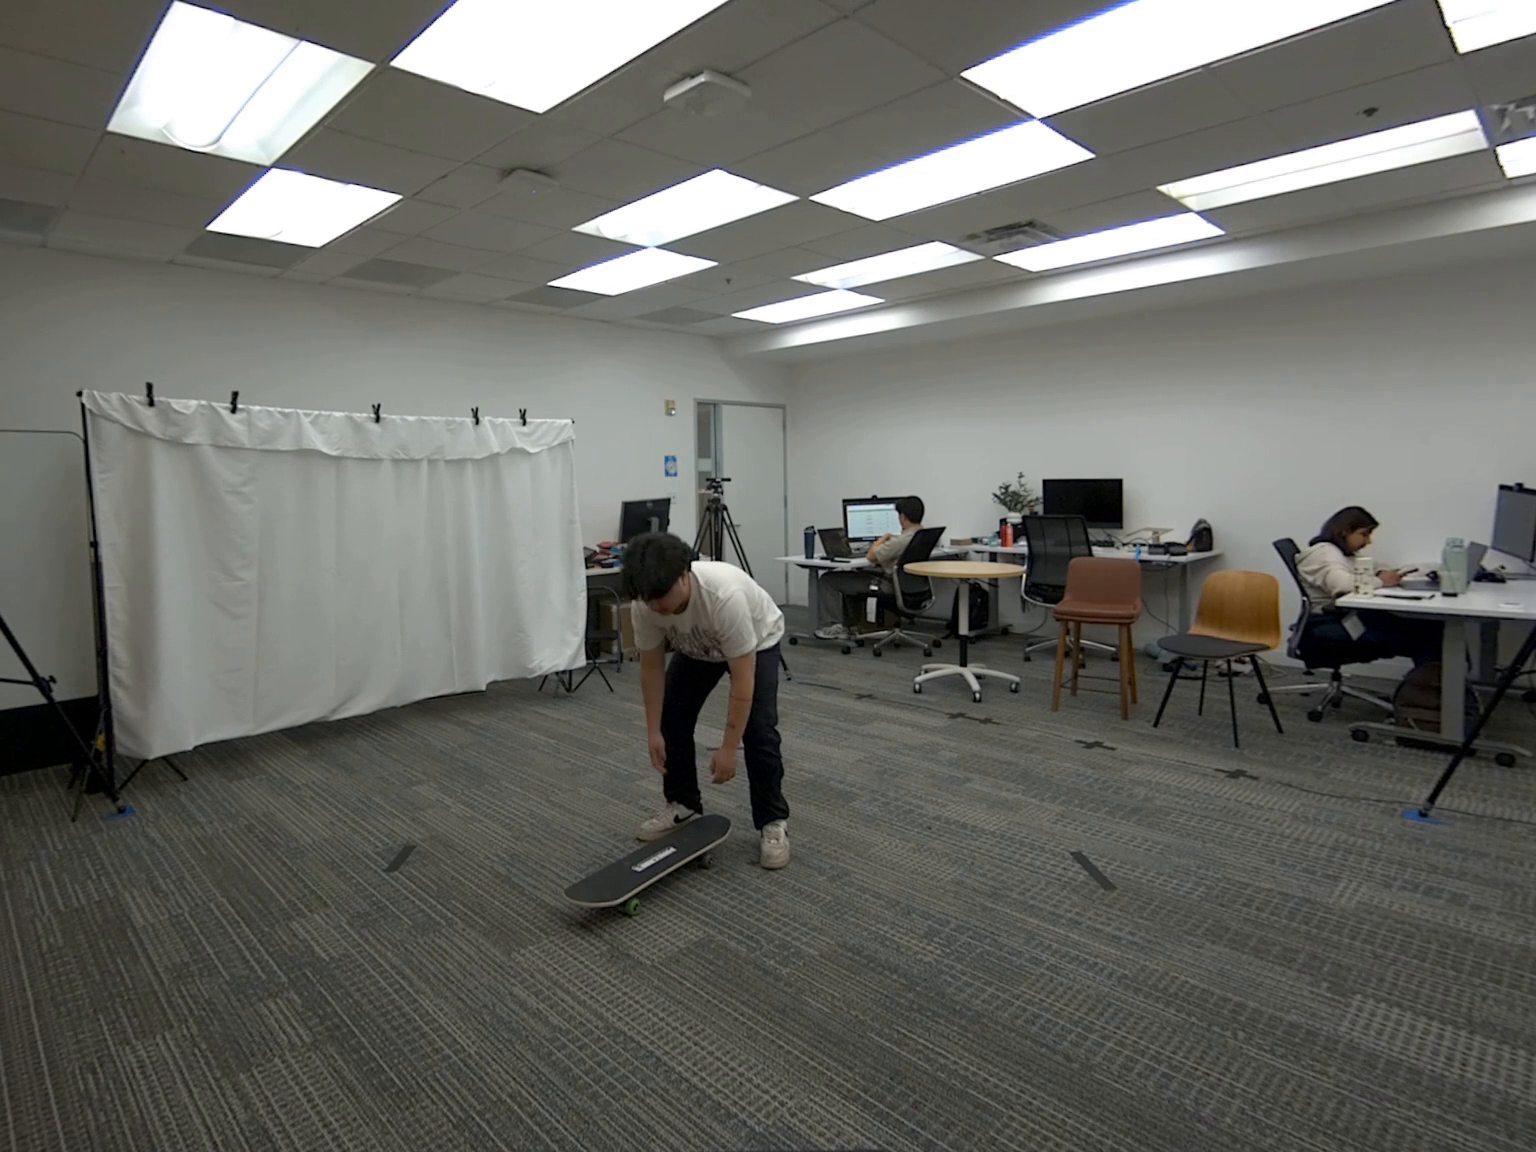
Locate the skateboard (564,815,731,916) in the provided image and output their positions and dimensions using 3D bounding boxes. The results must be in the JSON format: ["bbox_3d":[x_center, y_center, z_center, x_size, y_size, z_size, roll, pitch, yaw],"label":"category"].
[{"bbox_3d":[-0.392,1.012,2.952,0.199,0.110,0.767,3,8,33],"label":"skateboard"}]
